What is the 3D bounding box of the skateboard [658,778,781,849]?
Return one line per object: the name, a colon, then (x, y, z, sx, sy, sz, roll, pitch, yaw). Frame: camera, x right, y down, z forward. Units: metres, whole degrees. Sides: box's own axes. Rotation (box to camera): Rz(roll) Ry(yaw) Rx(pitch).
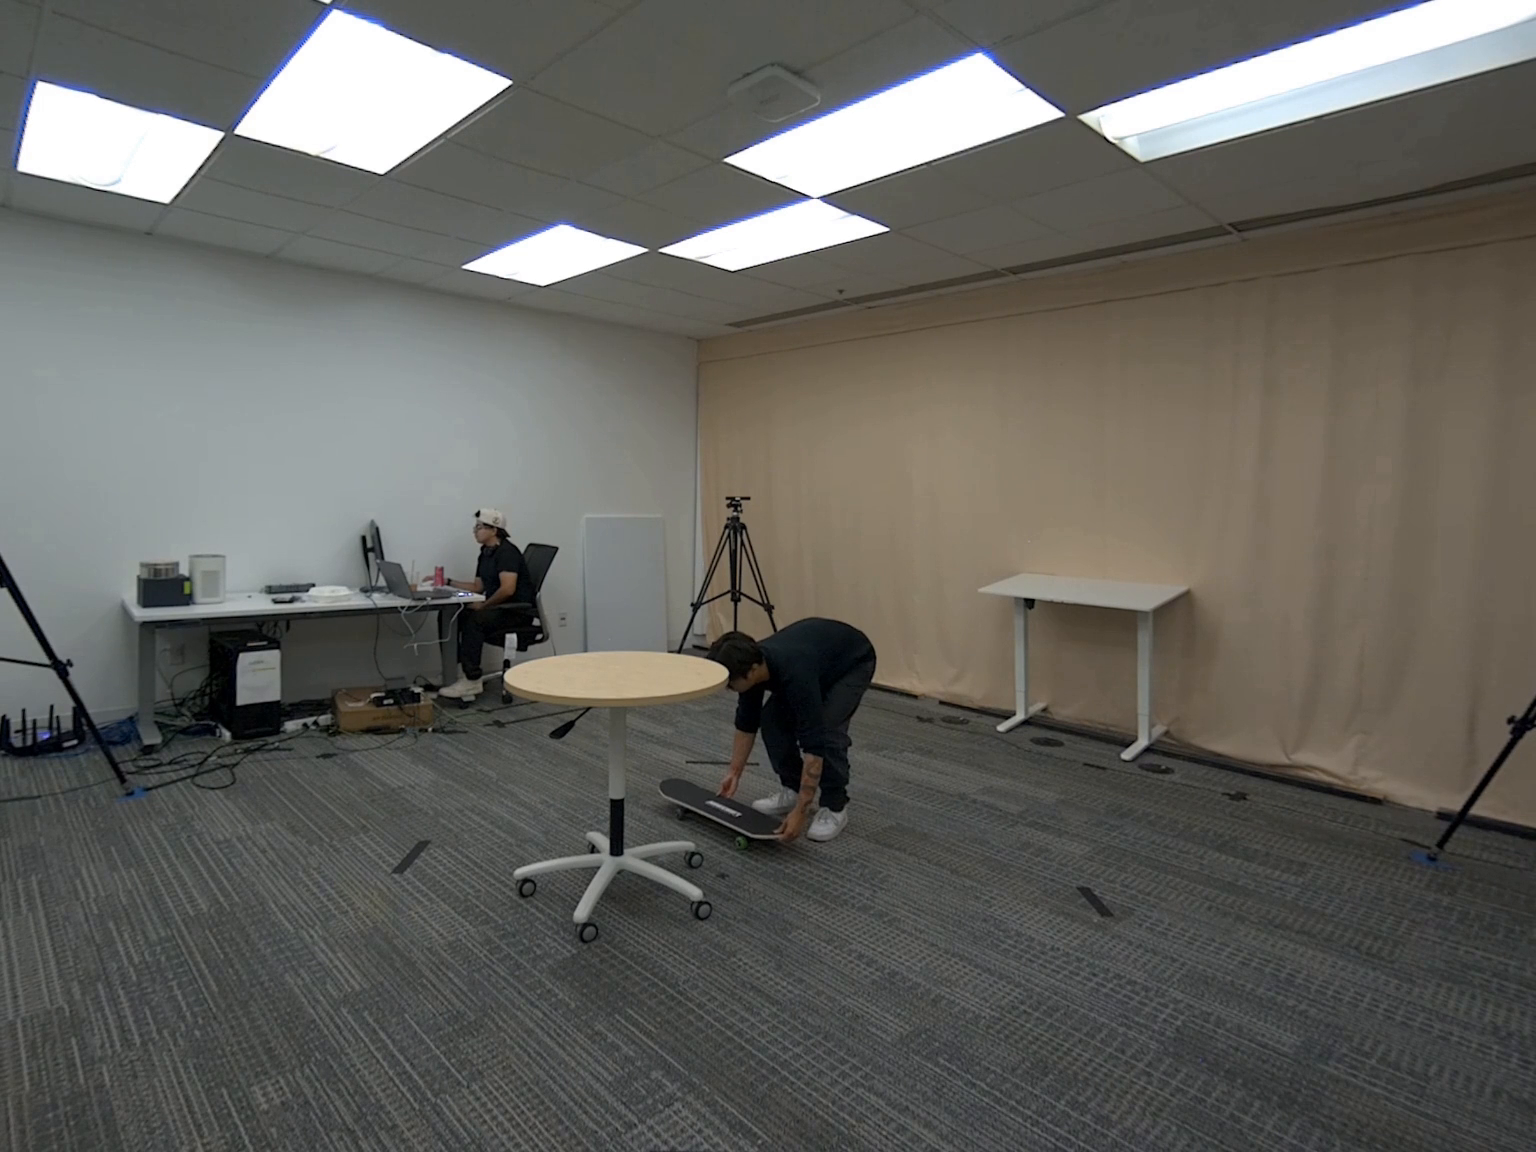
skateboard: (-0.199, 1.010, 3.551, 0.189, 0.110, 0.806, -2, 7, -42)
